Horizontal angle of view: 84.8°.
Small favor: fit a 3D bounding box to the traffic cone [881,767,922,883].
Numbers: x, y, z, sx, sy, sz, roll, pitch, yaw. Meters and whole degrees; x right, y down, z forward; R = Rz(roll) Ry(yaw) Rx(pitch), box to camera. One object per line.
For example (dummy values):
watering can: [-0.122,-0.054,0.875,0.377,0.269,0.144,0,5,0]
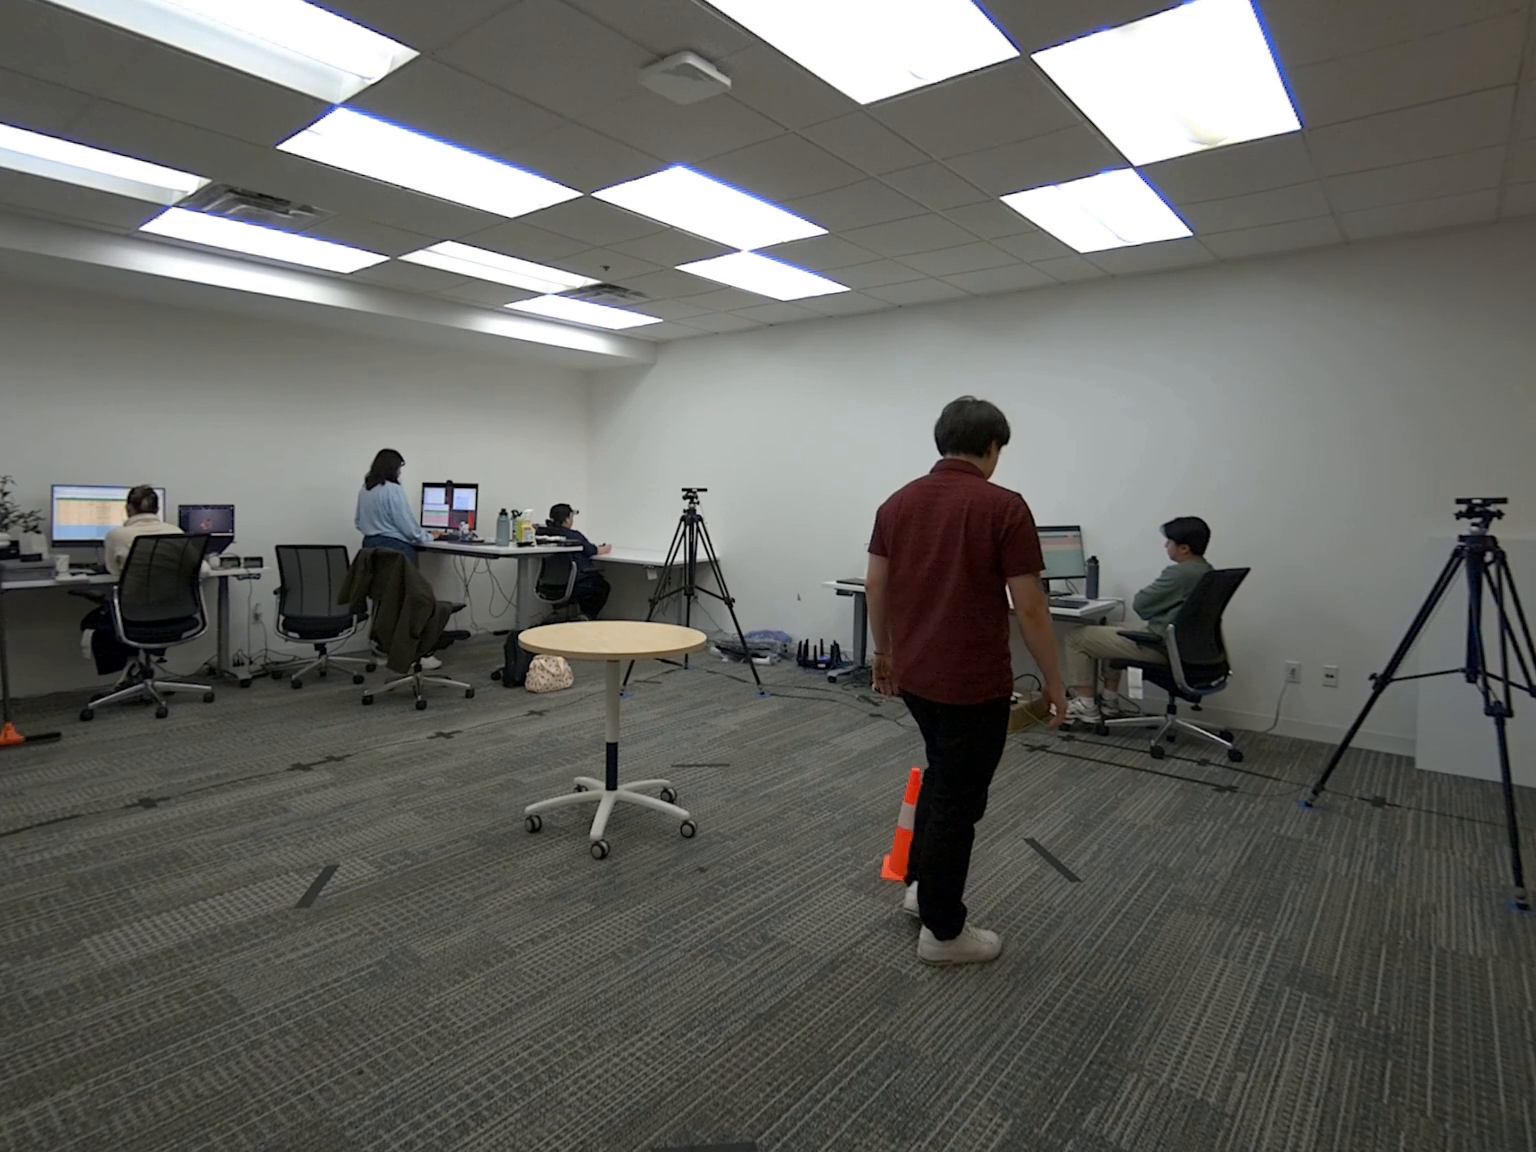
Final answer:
traffic cone: [0.528,0.893,3.133,0.207,0.383,0.202,3,3,16]
